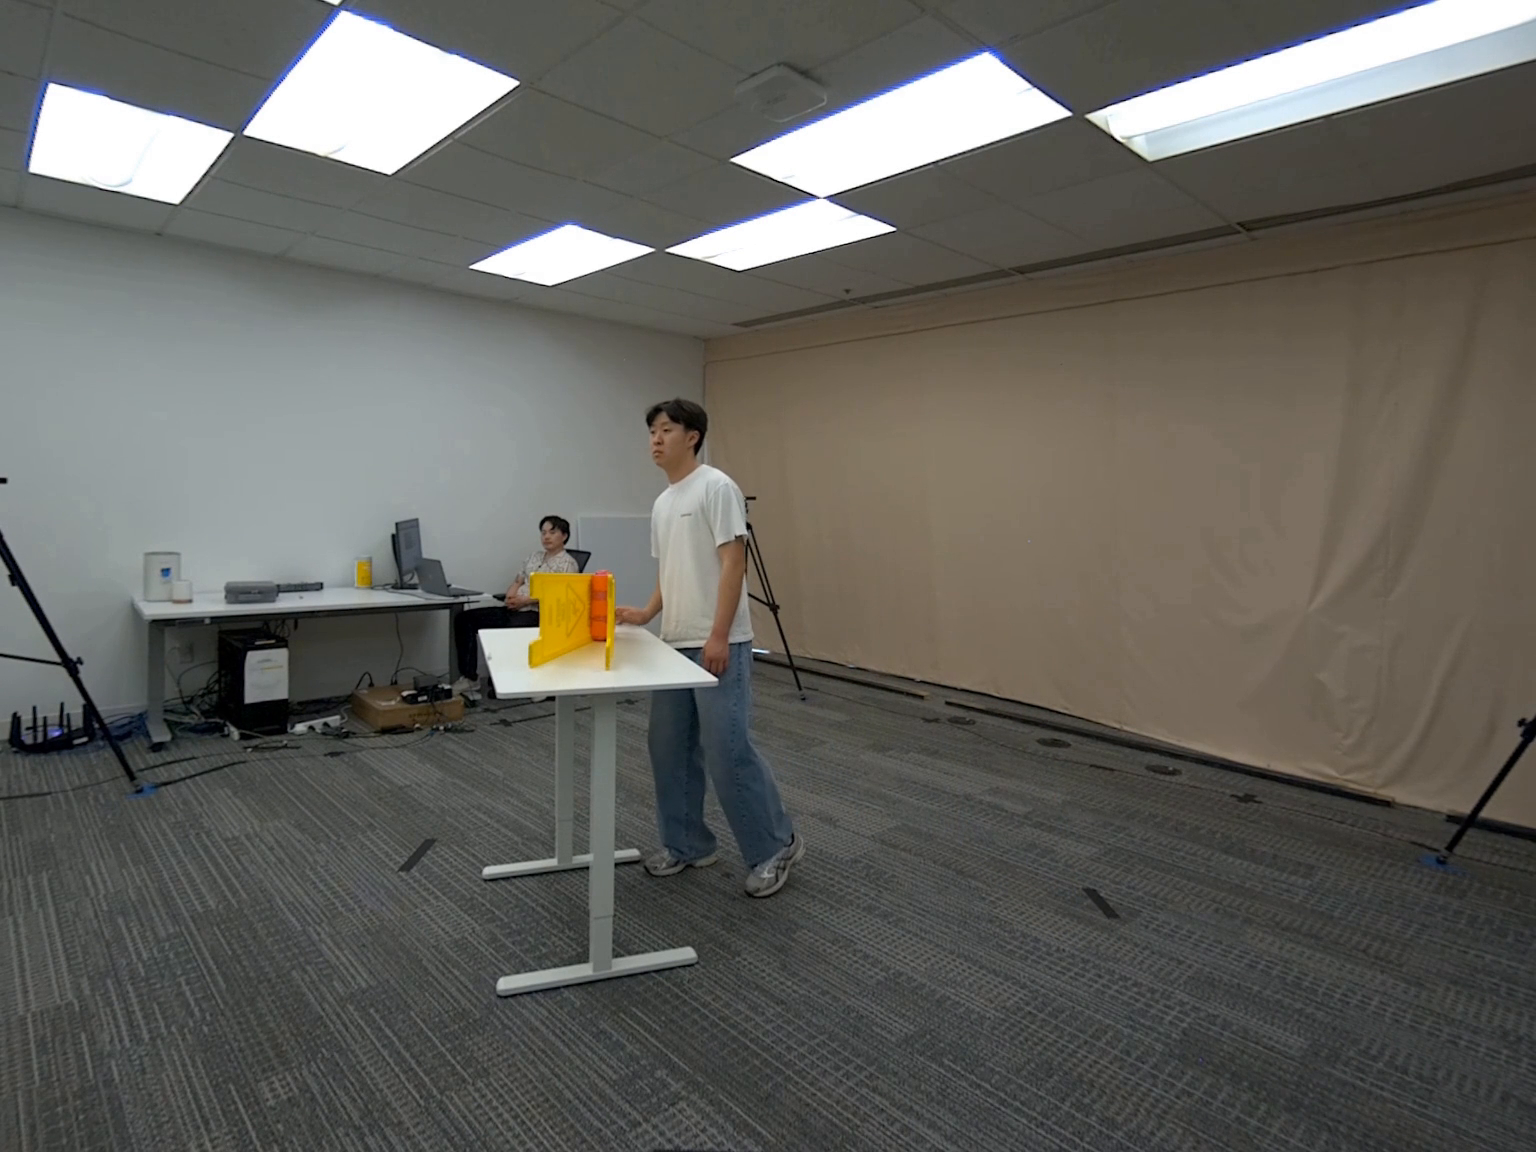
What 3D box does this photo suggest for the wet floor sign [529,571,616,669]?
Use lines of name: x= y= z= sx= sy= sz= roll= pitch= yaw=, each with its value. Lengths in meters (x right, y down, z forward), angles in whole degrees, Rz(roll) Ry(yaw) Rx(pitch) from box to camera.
wet floor sign: x=-0.583 y=0.118 z=2.778 sx=0.290 sy=0.282 sz=0.646 roll=1 pitch=2 yaw=0
